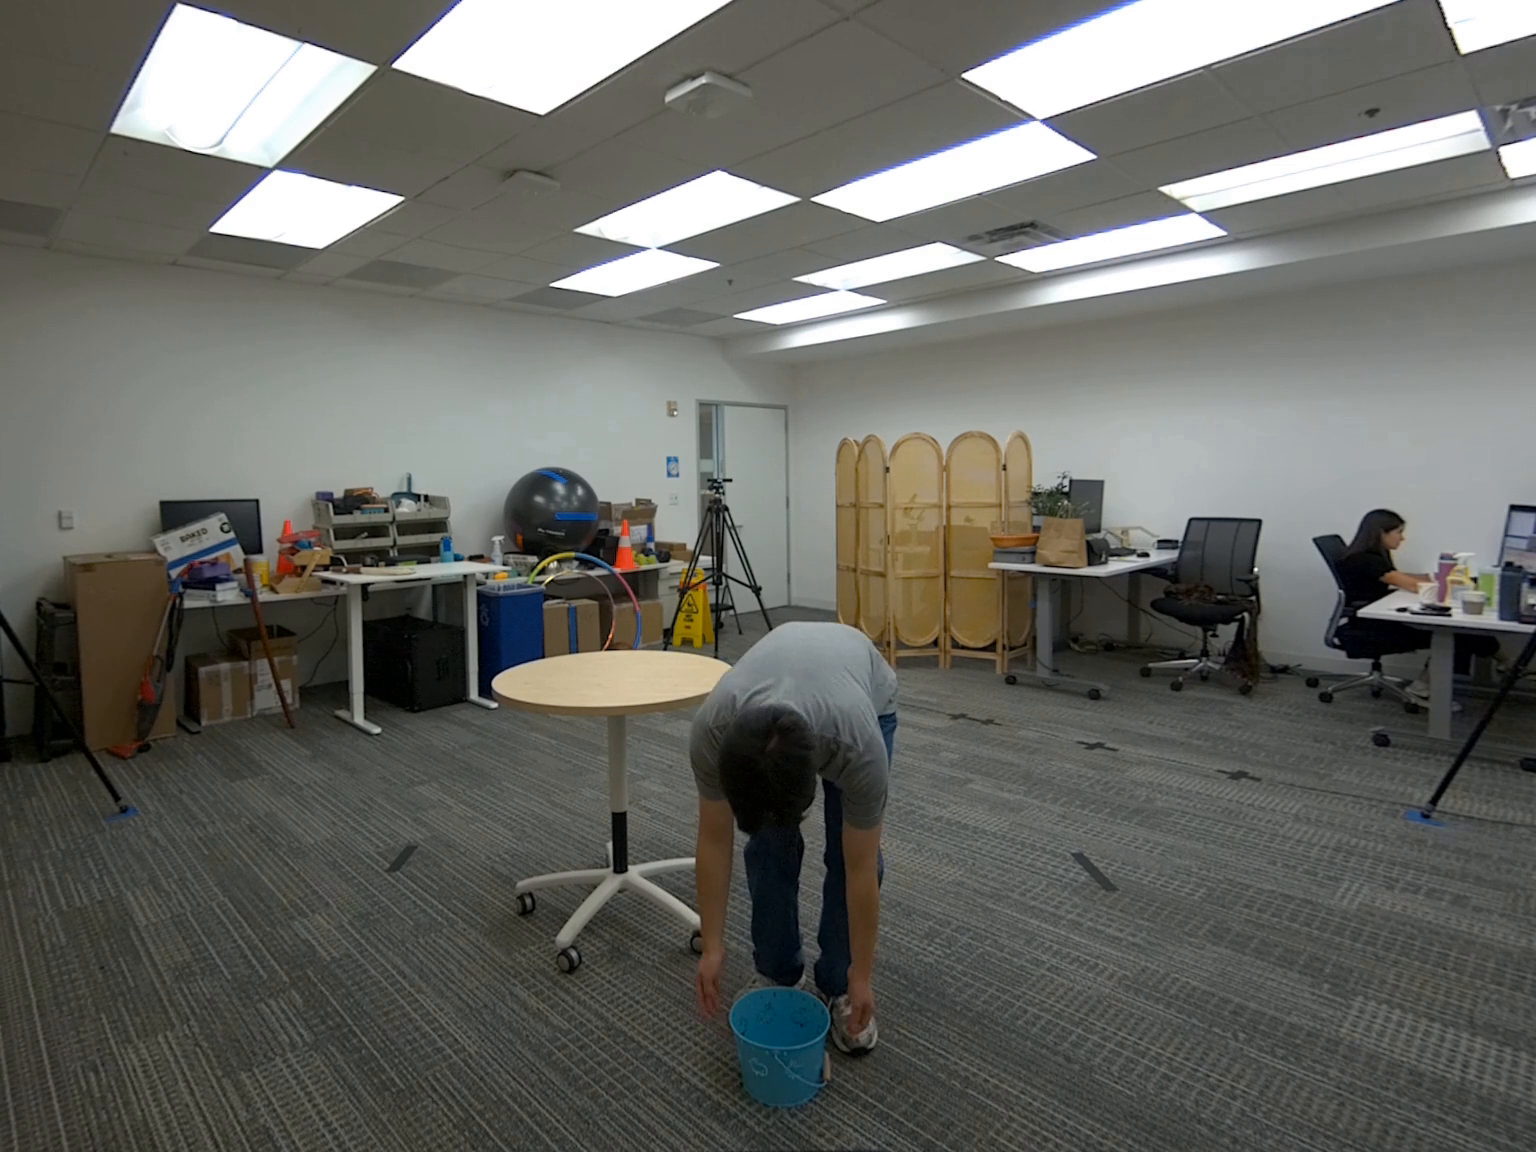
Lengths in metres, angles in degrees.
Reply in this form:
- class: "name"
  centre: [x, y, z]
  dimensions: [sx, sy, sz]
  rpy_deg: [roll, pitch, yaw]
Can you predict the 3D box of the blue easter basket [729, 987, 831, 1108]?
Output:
- class: "blue easter basket"
  centre: [0.033, 1.098, 1.987]
  dimensions: [0.243, 0.155, 0.245]
  rpy_deg: [-1, 7, -2]
